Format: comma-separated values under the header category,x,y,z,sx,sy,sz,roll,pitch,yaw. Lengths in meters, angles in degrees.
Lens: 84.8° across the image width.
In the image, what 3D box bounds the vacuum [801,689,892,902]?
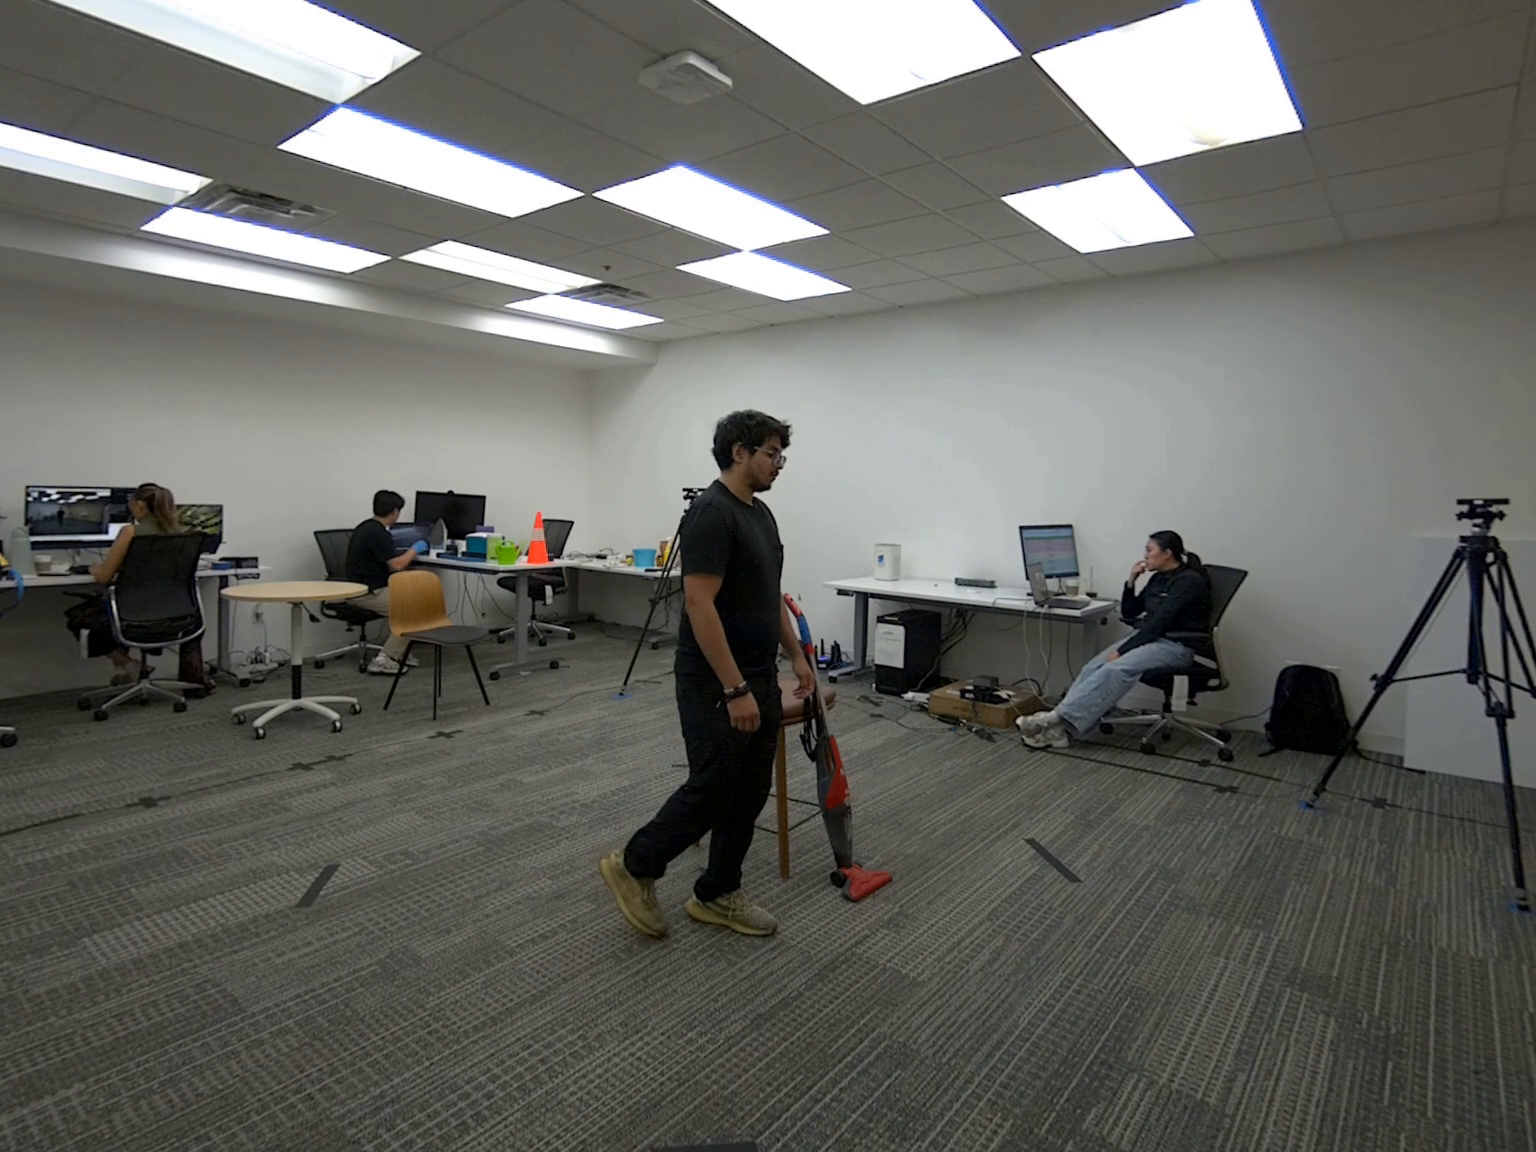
category,x,y,z,sx,sy,sz,roll,pitch,yaw
vacuum,0.193,0.590,3.109,0.146,1.063,0.245,-22,-13,36
